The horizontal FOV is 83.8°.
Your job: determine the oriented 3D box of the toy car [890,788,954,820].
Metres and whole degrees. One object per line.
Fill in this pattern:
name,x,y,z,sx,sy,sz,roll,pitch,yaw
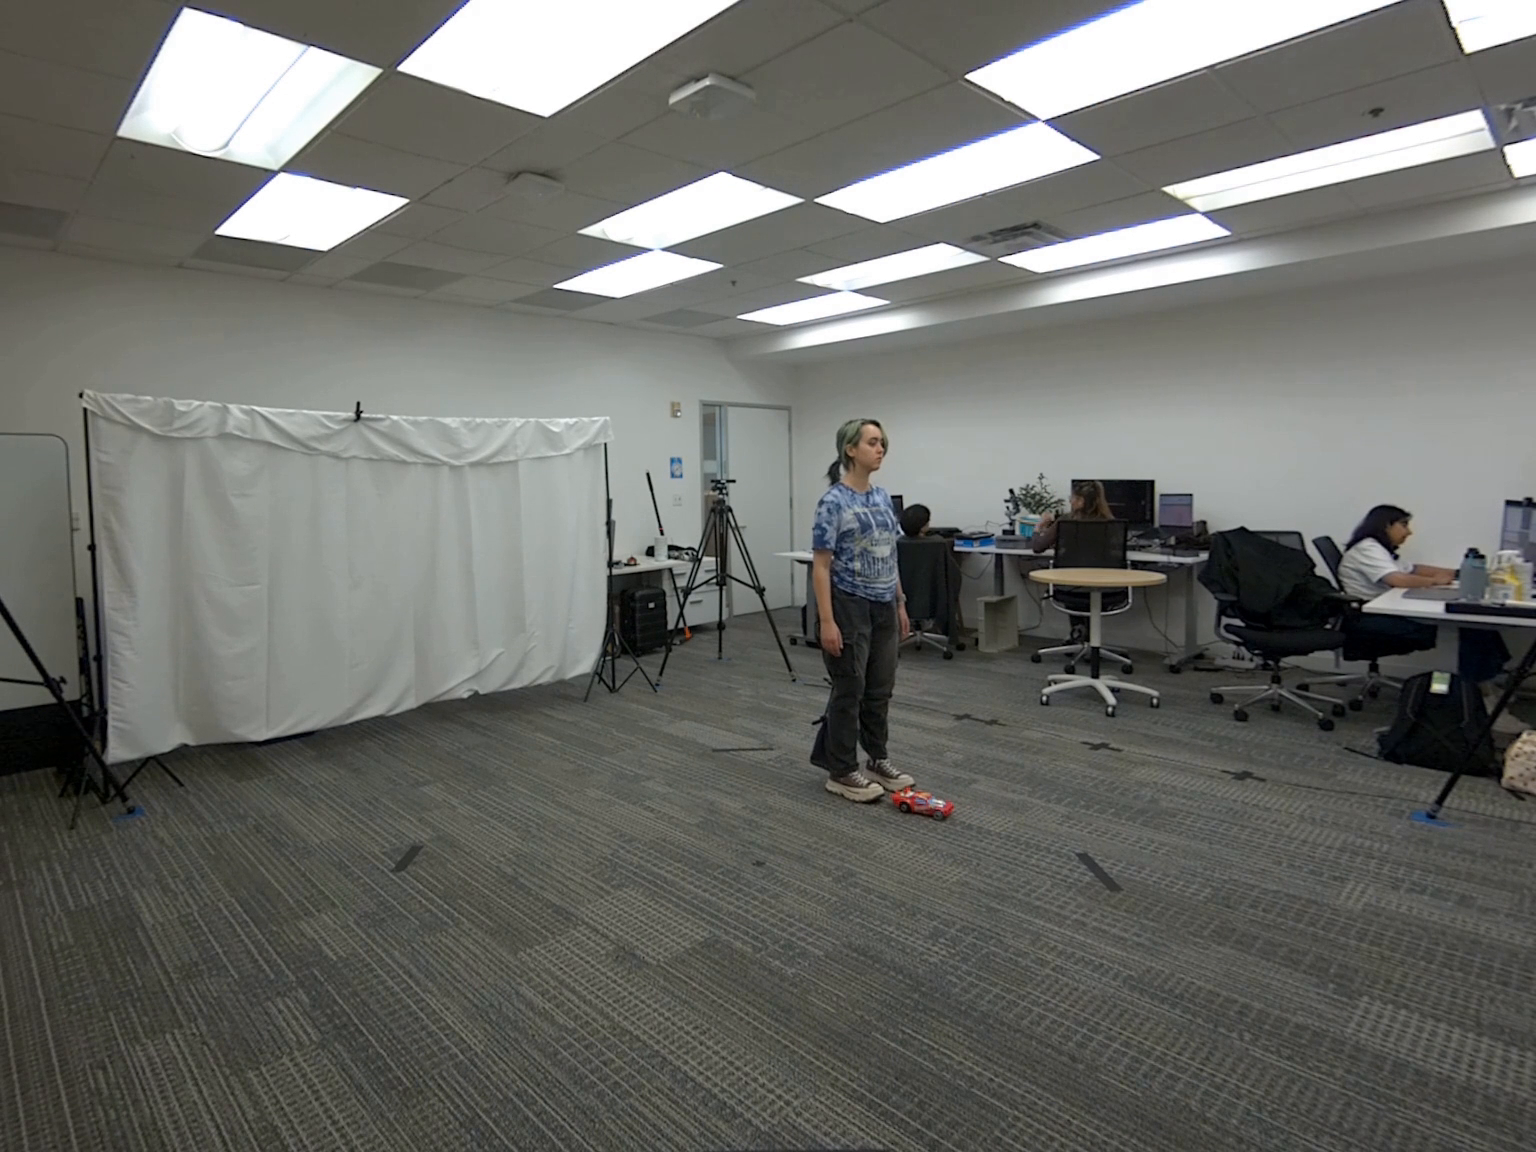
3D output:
toy car,0.642,0.957,3.570,0.263,0.082,0.127,15,14,33
